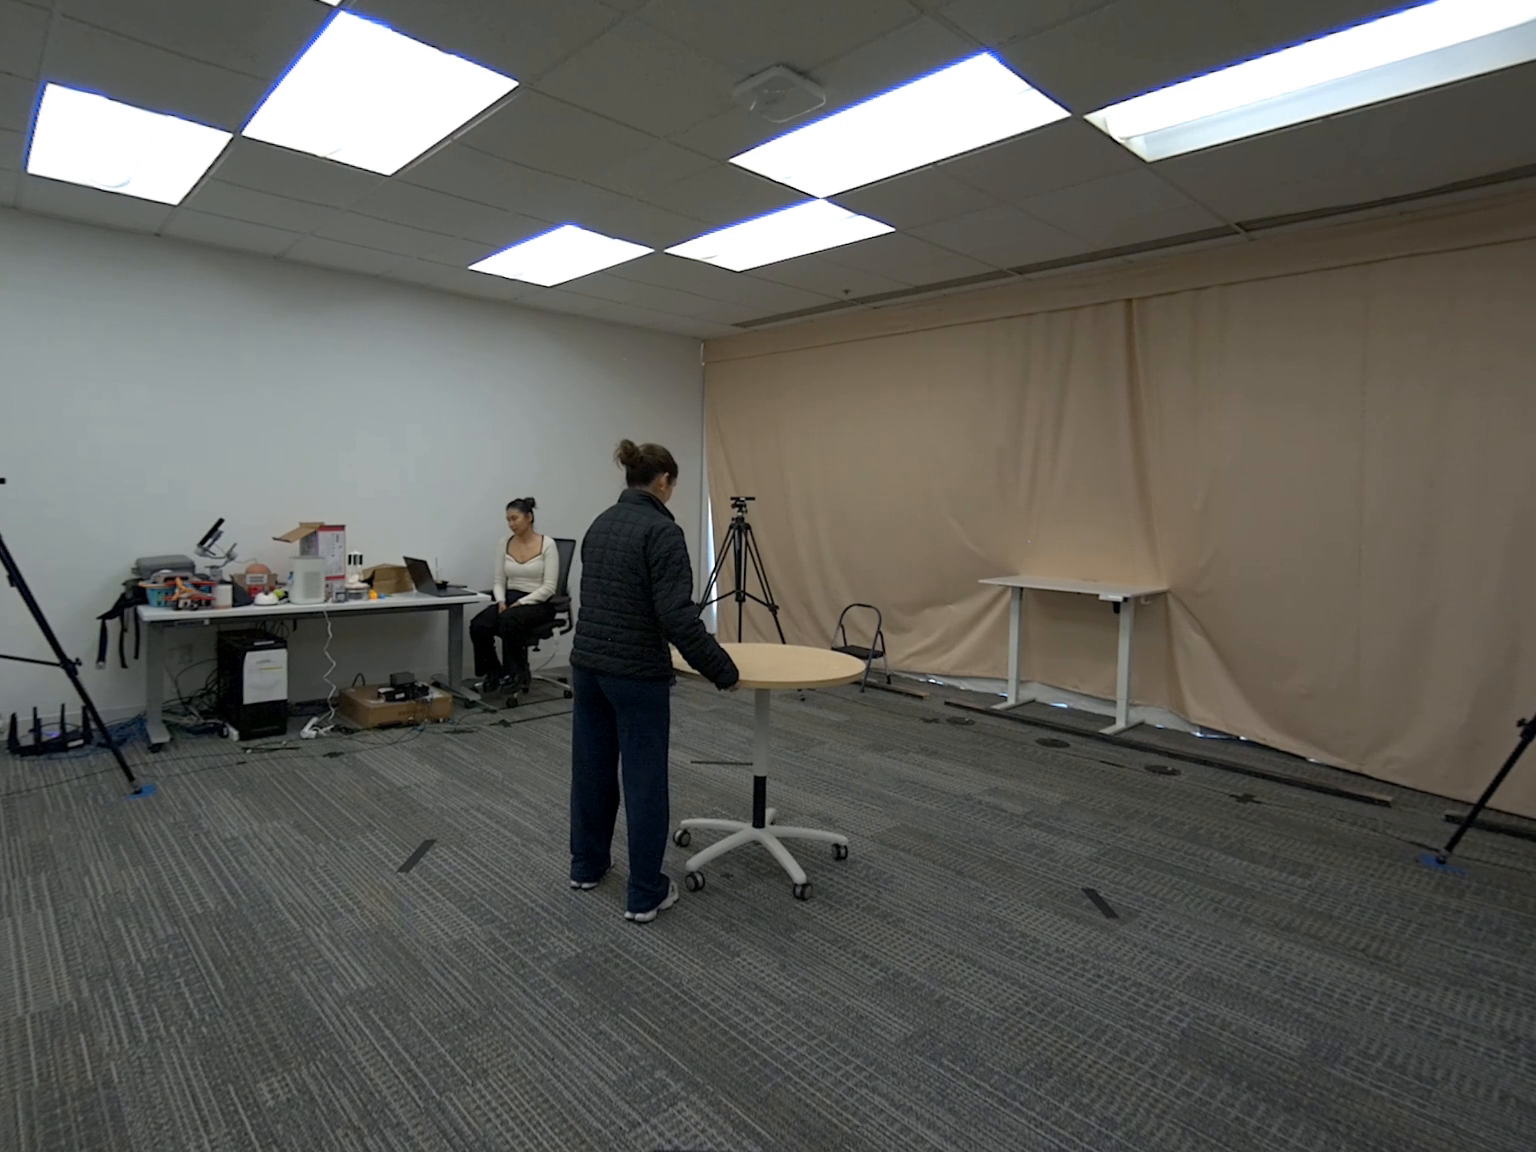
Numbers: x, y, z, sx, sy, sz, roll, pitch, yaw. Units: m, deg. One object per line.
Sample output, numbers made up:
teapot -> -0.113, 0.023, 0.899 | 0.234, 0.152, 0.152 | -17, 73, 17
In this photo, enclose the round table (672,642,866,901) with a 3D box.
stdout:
round table -> -0.019, 0.707, 3.191 | 0.784, 0.784, 0.788 | 1, 4, -1
